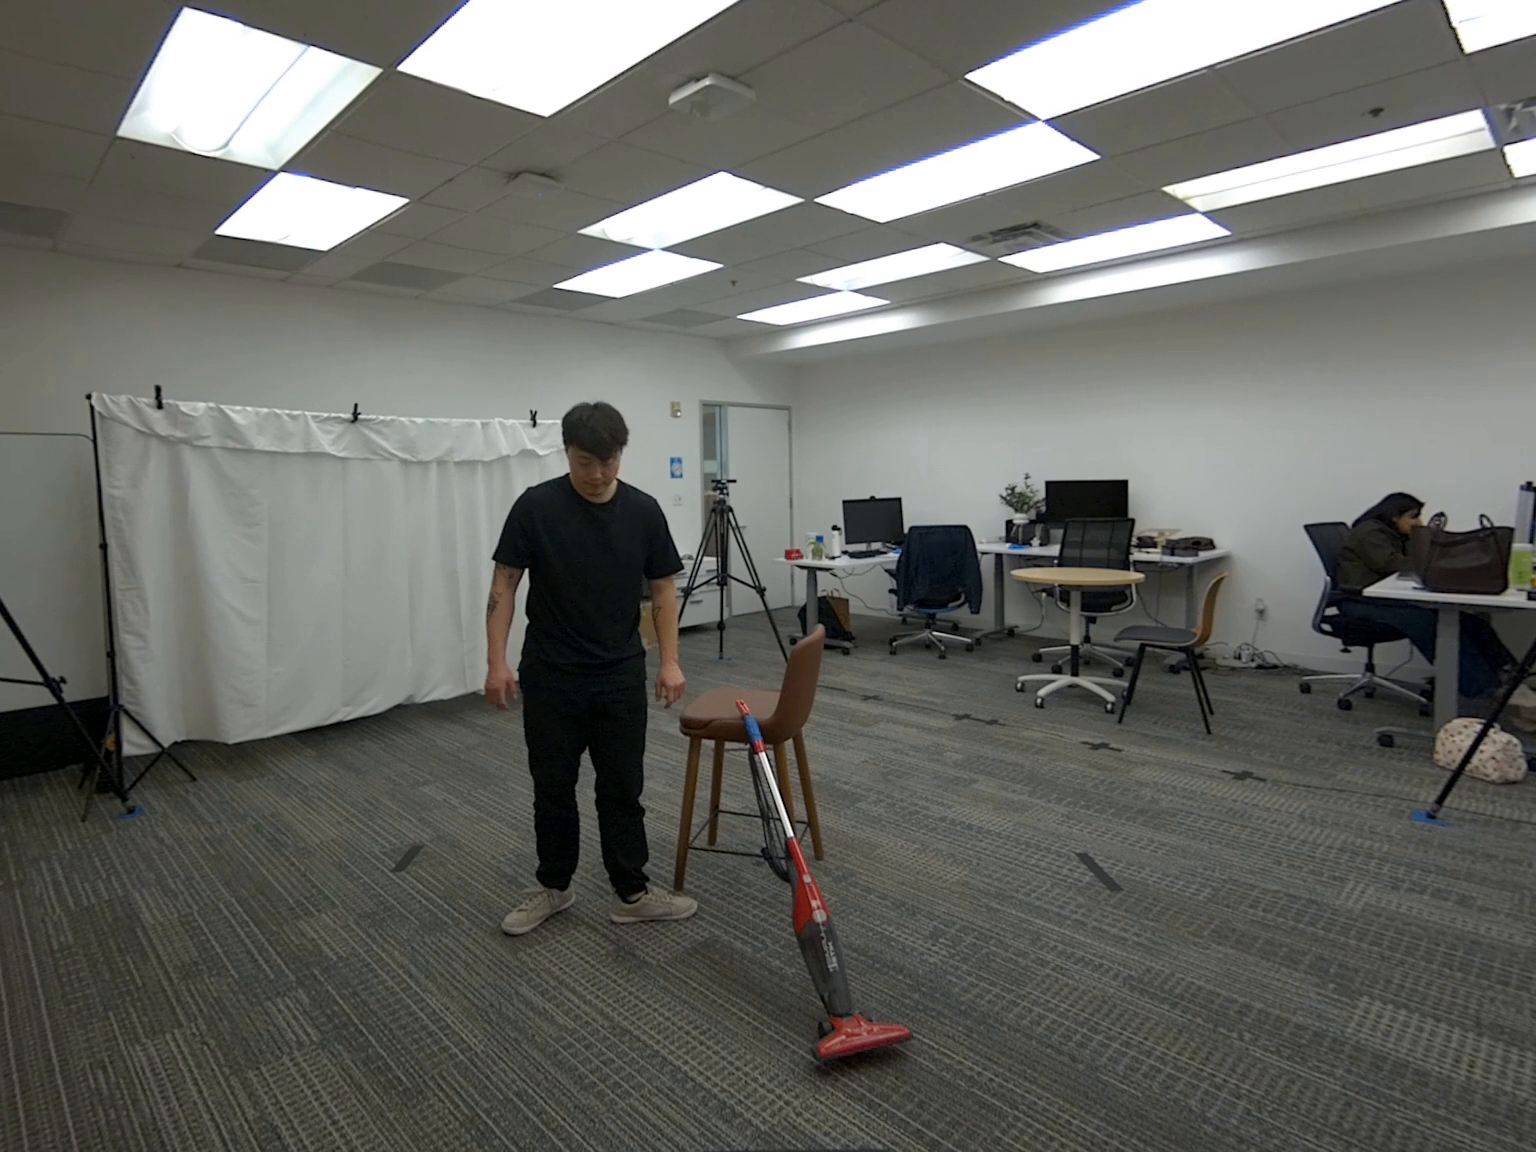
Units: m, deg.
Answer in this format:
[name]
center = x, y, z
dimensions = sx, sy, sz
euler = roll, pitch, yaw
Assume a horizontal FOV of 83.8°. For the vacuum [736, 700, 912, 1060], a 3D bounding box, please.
[vacuum]
center = 0.060, 0.784, 2.464
dimensions = 0.248, 0.141, 1.088
euler = -3, 41, -21
